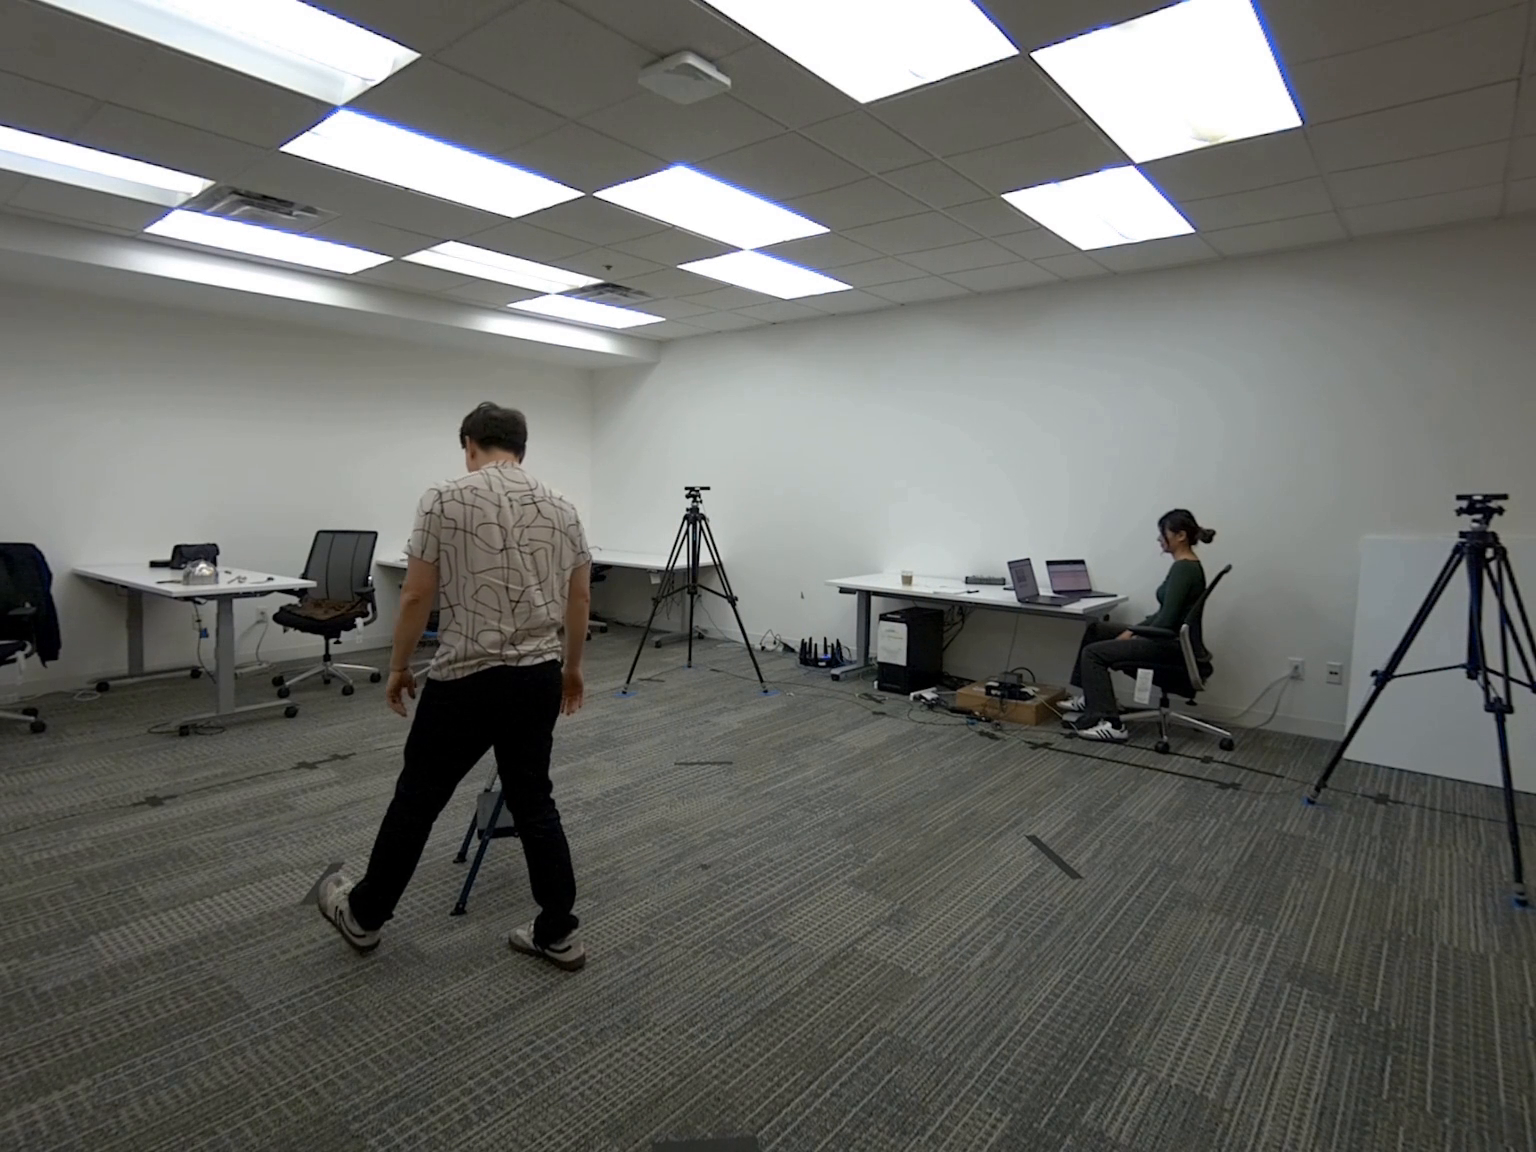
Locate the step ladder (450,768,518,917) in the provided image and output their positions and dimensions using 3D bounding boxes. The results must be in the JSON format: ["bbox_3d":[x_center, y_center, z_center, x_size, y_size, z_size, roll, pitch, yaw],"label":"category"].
[{"bbox_3d":[-0.932,0.769,2.969,0.343,0.604,0.440,0,4,-18],"label":"step ladder"}]
